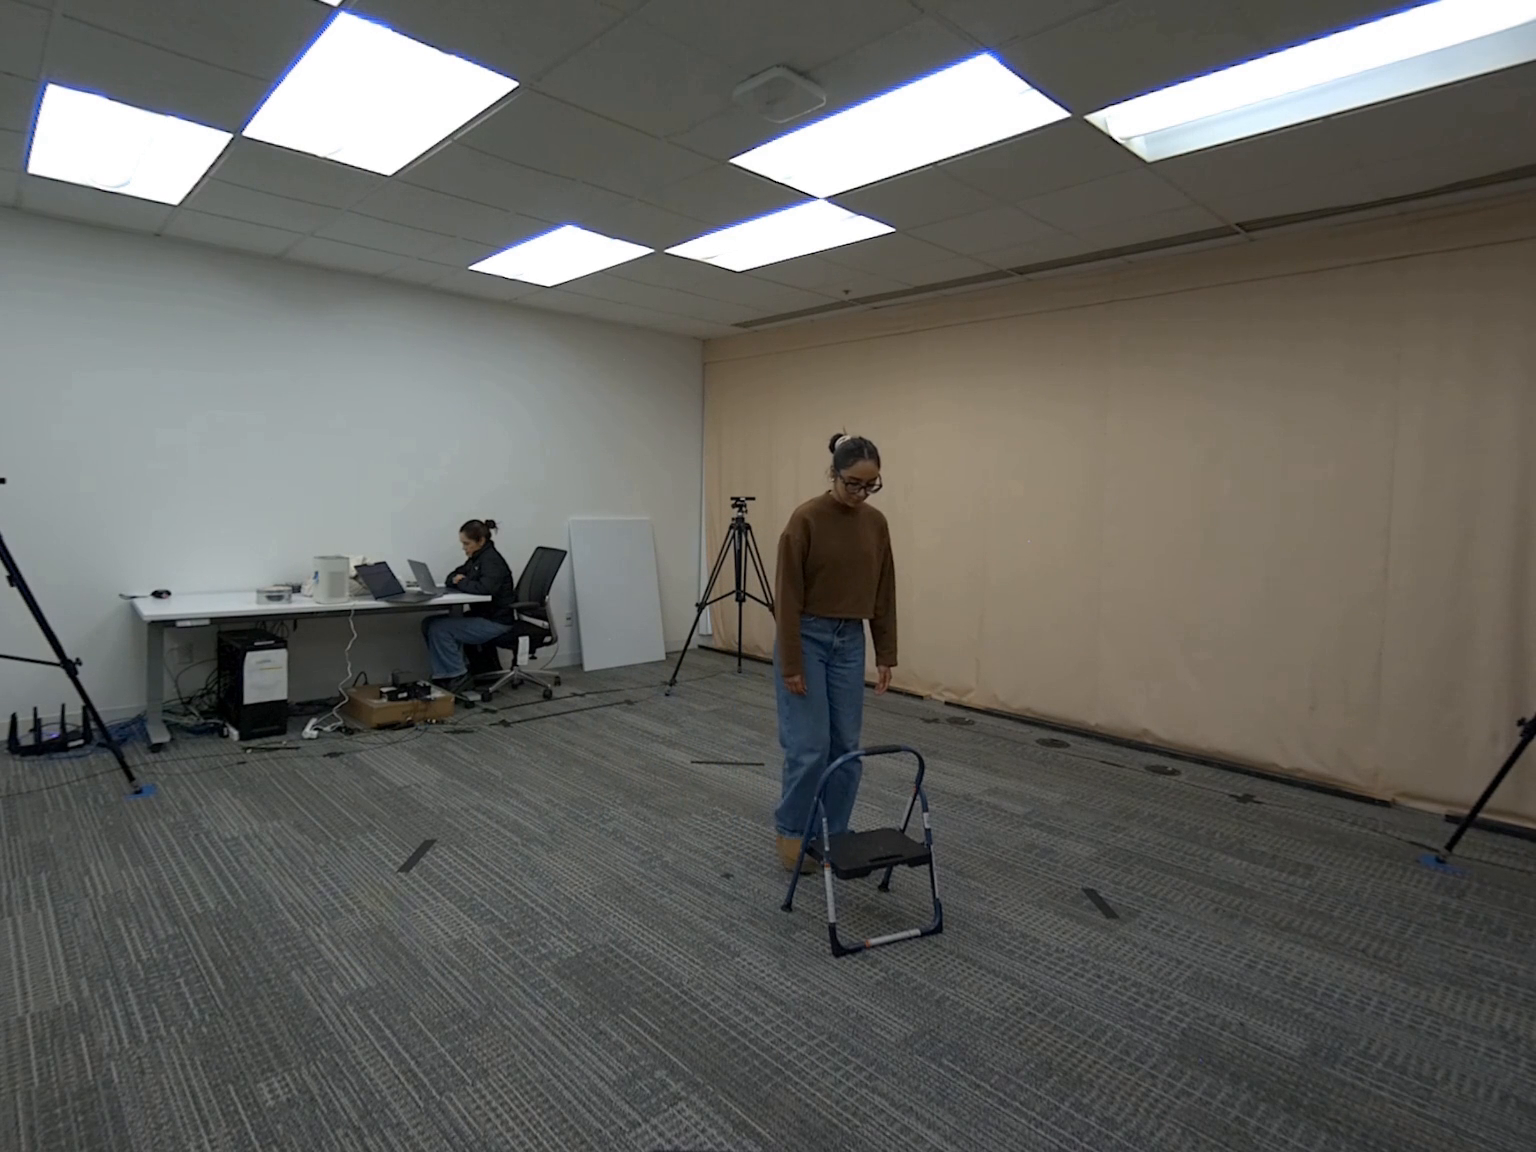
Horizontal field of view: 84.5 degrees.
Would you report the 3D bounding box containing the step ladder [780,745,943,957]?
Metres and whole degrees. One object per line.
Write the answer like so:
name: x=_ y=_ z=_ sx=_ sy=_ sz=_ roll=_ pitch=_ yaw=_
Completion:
step ladder: x=0.313 y=0.845 z=2.784 sx=0.423 sy=0.605 sz=0.356 roll=0 pitch=4 yaw=-26
